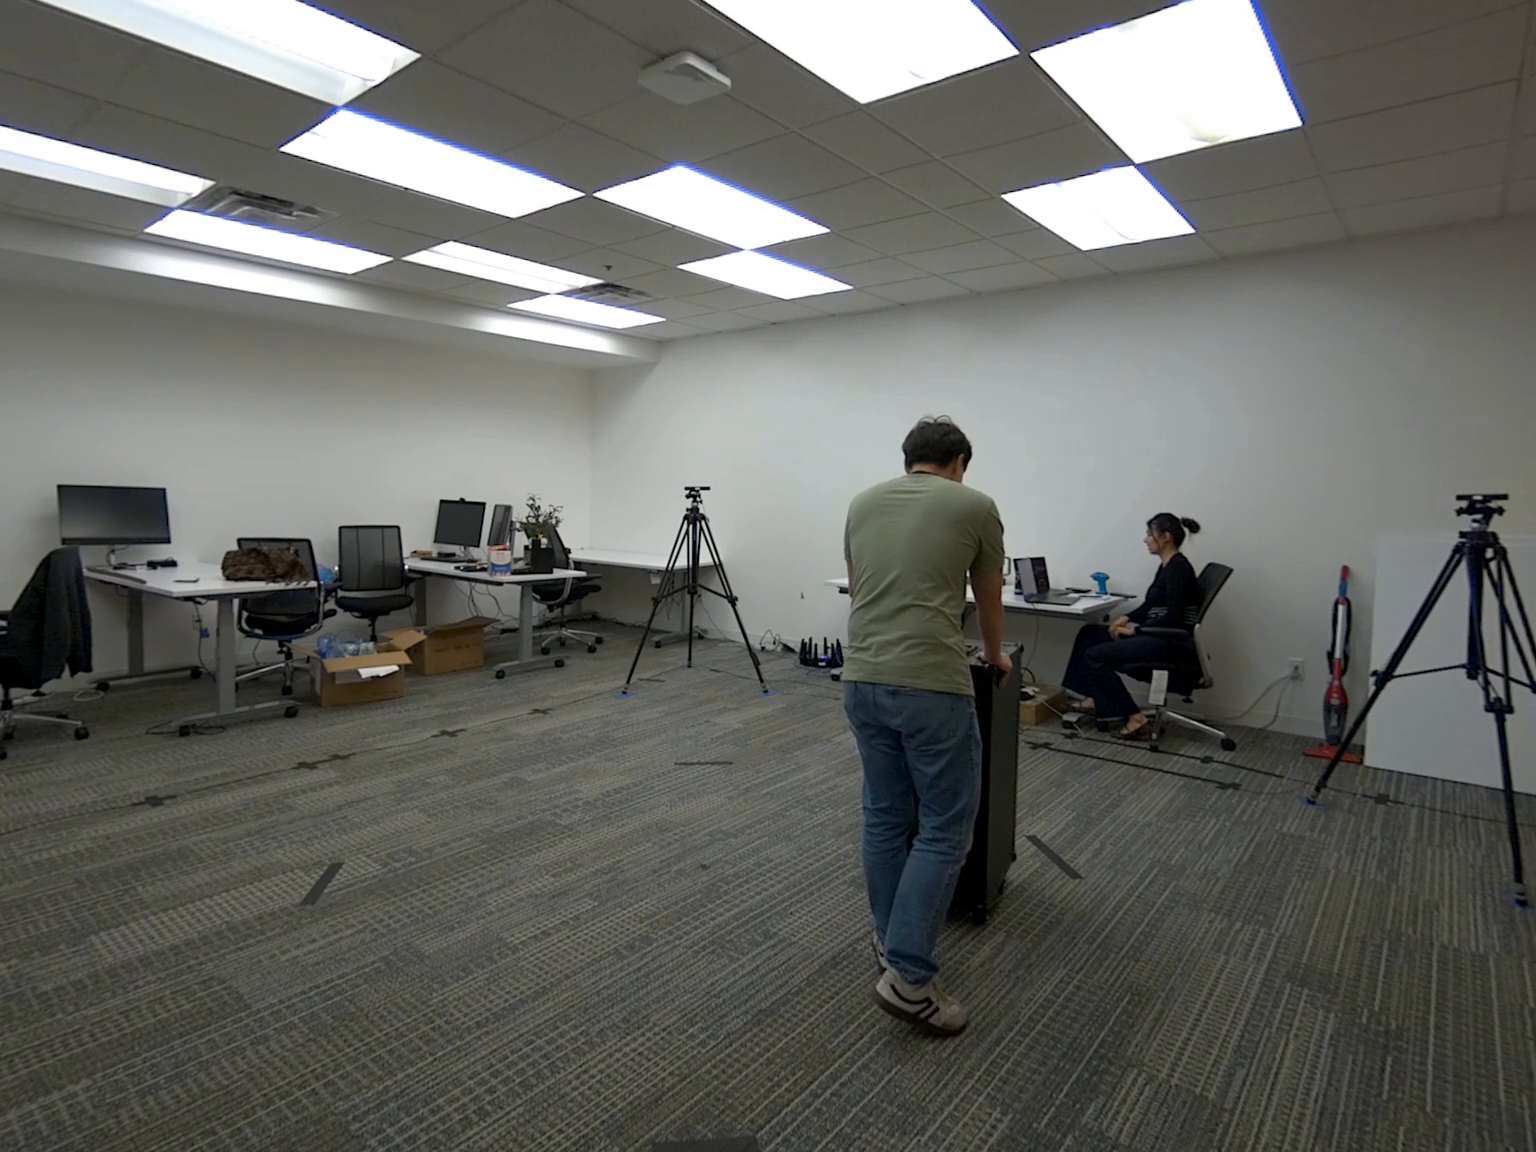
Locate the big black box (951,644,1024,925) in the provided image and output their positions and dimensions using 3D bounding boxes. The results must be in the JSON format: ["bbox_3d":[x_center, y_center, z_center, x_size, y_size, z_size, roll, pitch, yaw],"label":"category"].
[{"bbox_3d":[0.618,0.672,2.934,0.407,0.860,0.508,1,3,27],"label":"big black box"}]
